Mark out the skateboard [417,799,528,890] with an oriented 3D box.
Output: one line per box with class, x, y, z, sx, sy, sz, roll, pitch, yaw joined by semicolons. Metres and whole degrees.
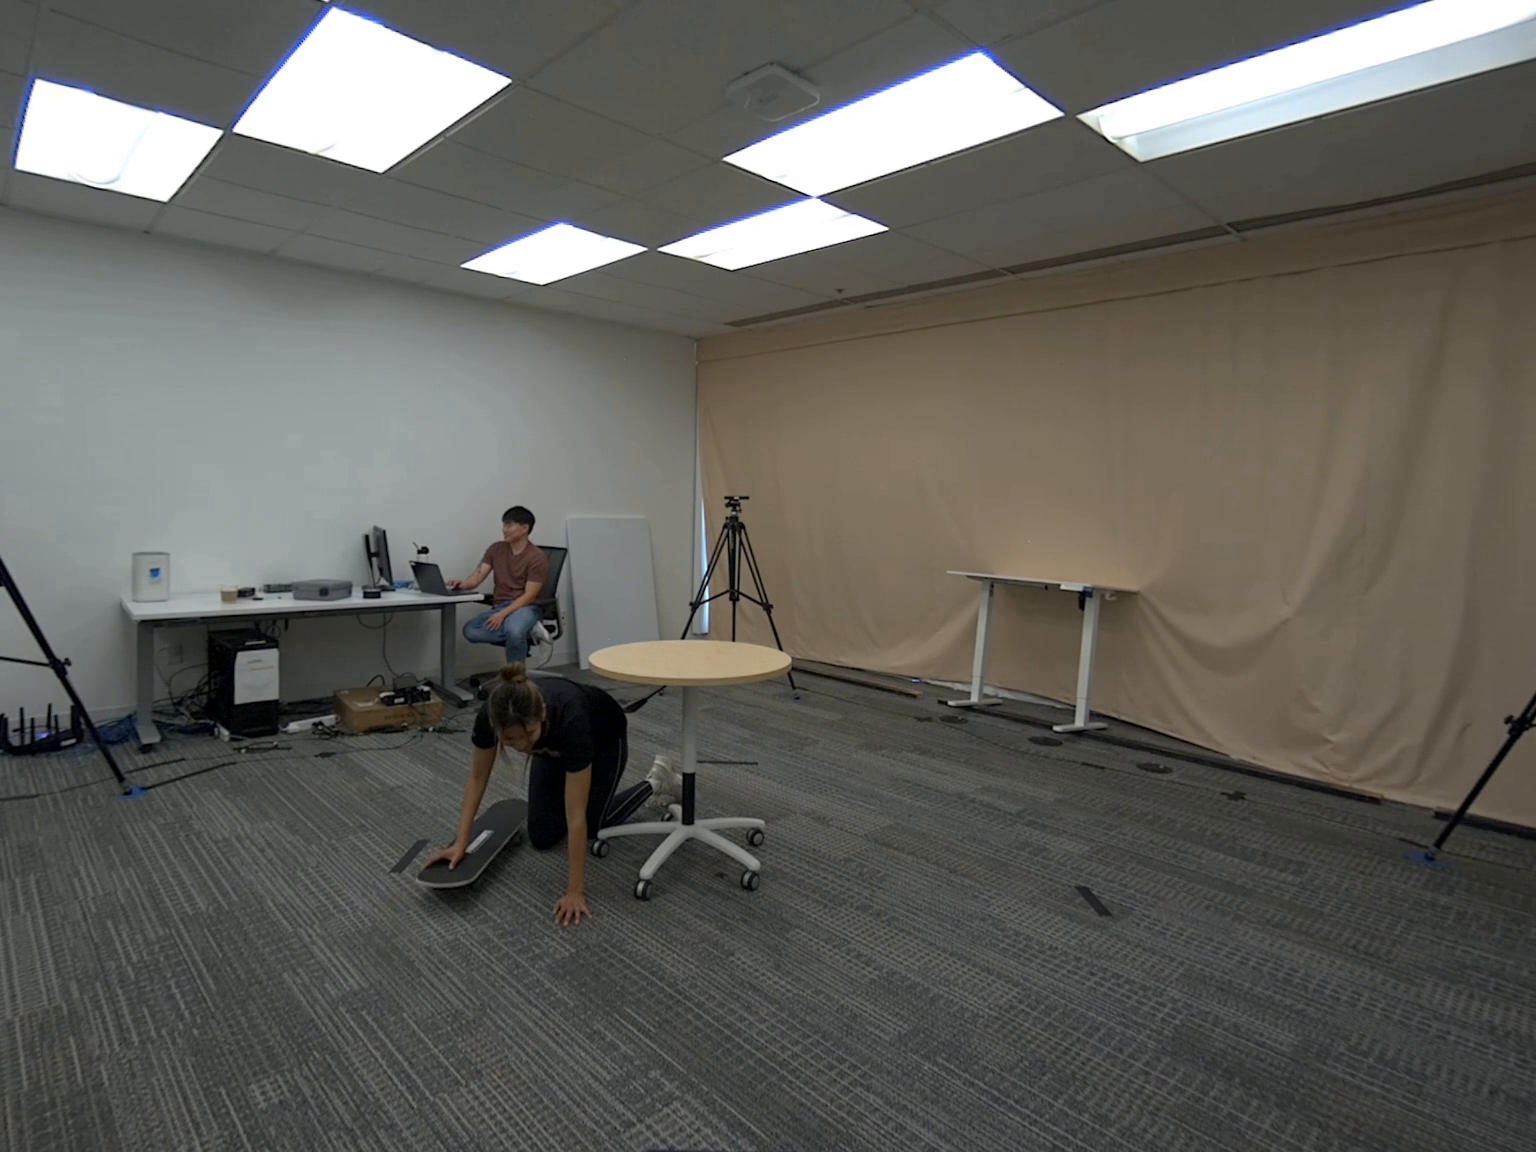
skateboard;-1.079;1.021;3.141;0.194;0.110;0.784;2;5;4
